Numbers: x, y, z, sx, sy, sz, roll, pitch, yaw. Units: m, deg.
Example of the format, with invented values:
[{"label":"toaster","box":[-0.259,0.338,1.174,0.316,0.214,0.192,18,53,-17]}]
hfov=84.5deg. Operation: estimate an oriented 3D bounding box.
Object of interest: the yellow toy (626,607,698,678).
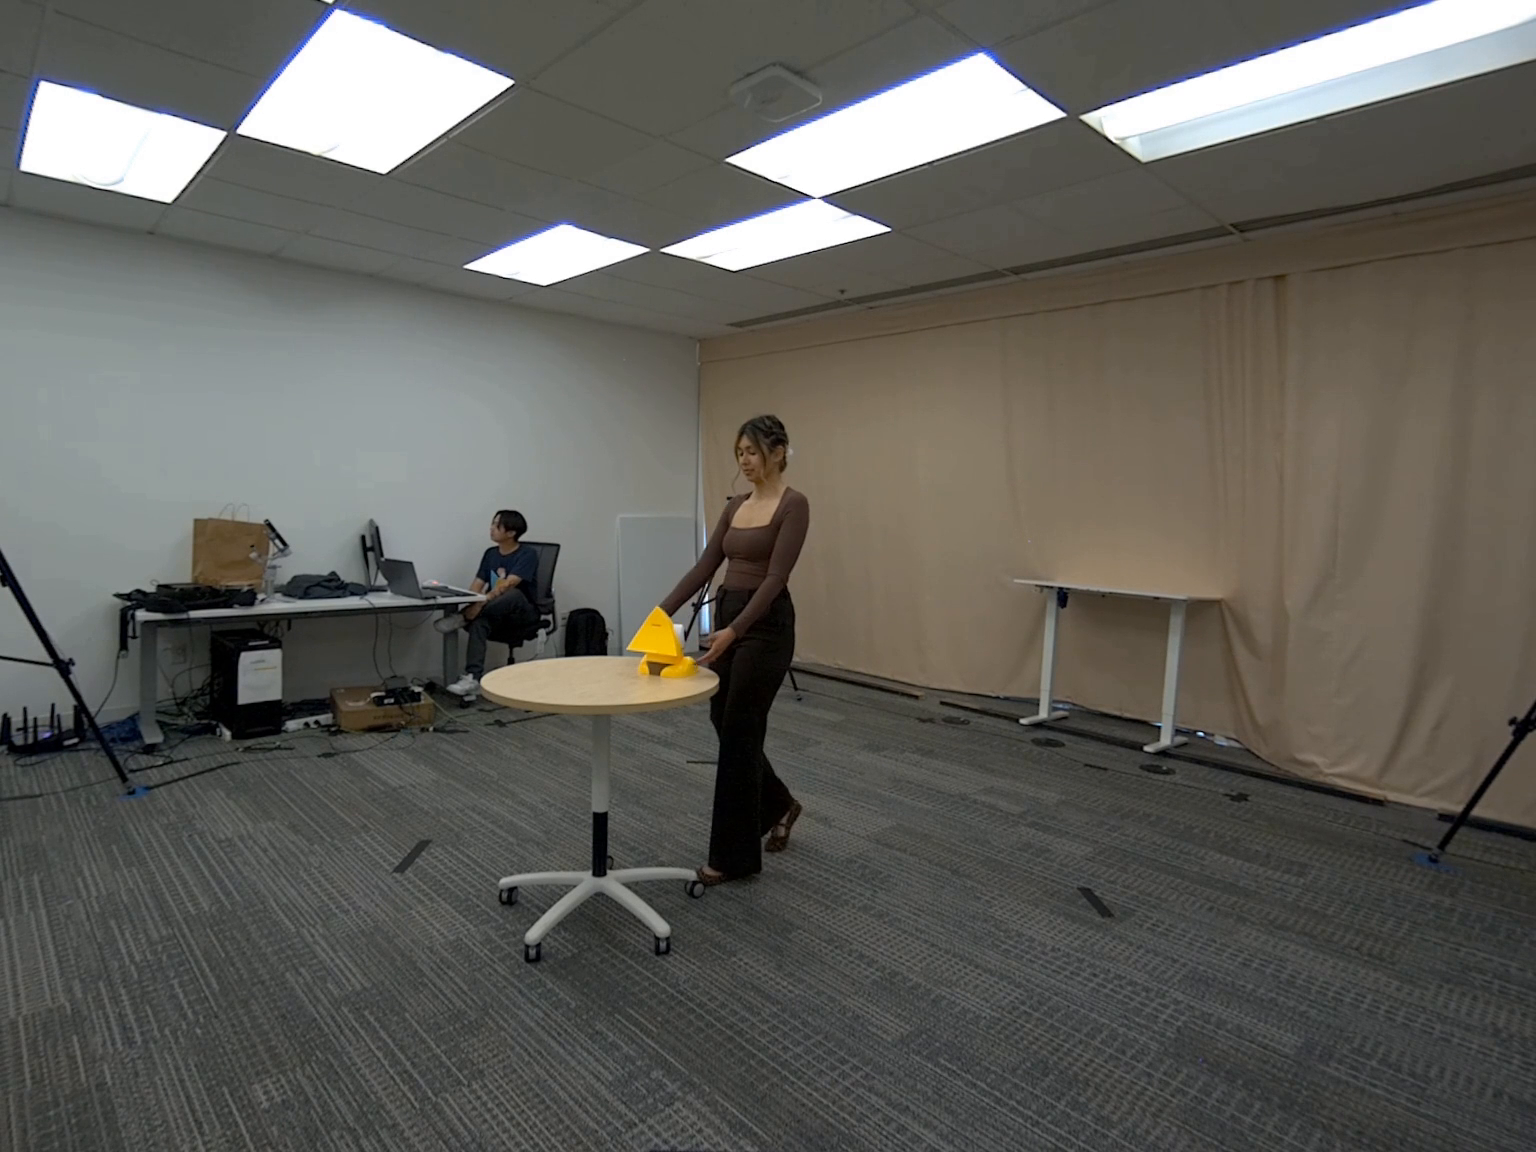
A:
[{"label":"yellow toy","box":[-0.348,0.214,2.850,0.209,0.230,0.189,5,4,28]}]
